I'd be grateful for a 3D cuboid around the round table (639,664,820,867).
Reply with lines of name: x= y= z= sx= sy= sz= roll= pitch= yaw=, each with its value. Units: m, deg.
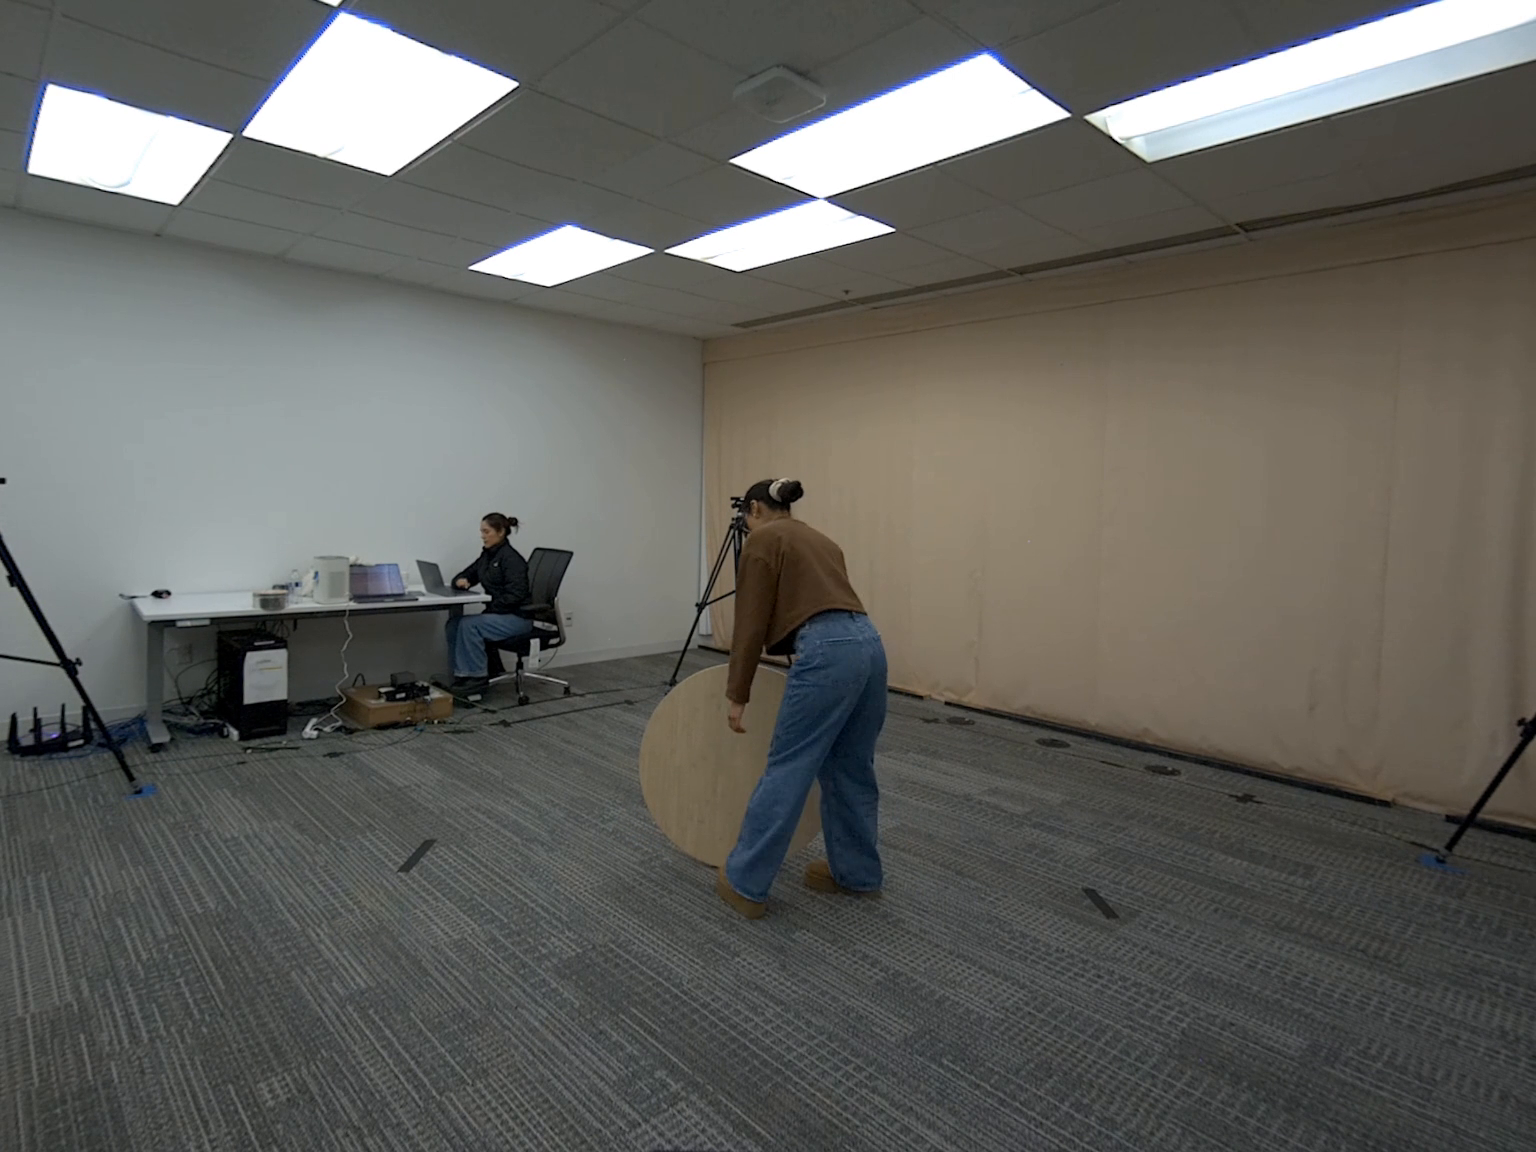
round table: x=-0.104 y=0.722 z=3.575 sx=0.766 sy=0.765 sz=0.791 roll=1 pitch=-1 yaw=2
